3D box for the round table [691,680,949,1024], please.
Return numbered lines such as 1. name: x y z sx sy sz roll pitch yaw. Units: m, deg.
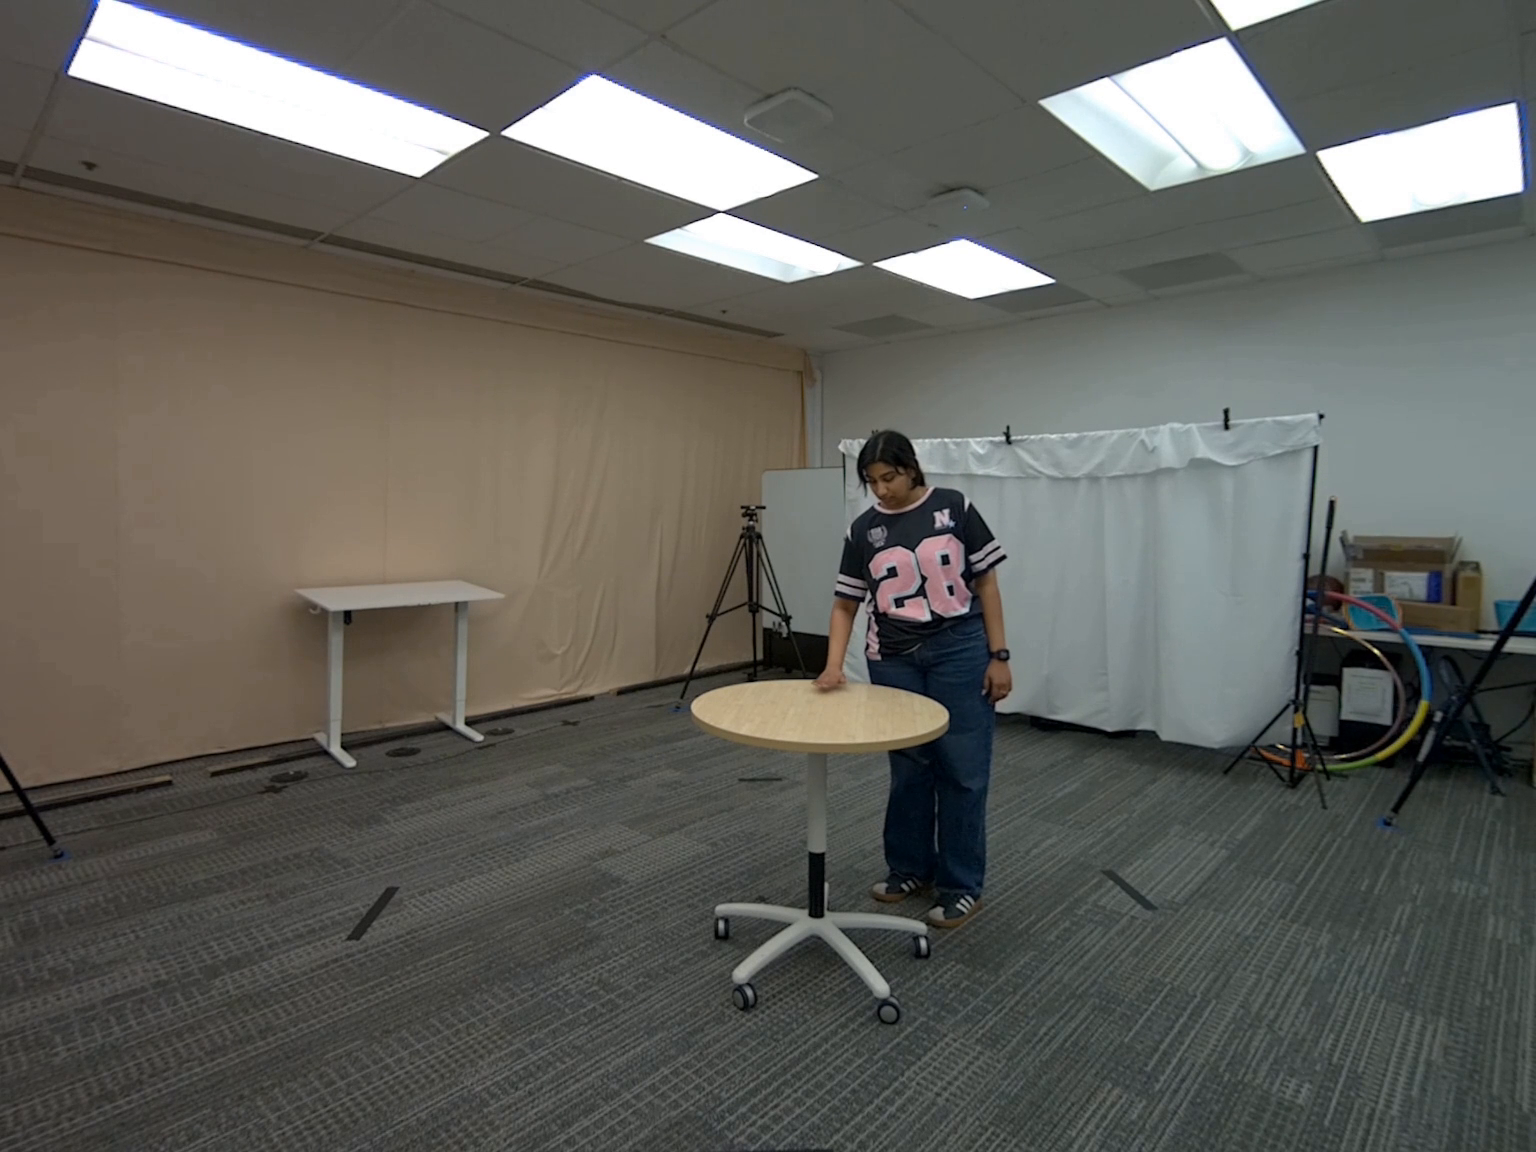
1. round table: 0.164 0.787 2.554 0.784 0.784 0.788 0 4 -2
